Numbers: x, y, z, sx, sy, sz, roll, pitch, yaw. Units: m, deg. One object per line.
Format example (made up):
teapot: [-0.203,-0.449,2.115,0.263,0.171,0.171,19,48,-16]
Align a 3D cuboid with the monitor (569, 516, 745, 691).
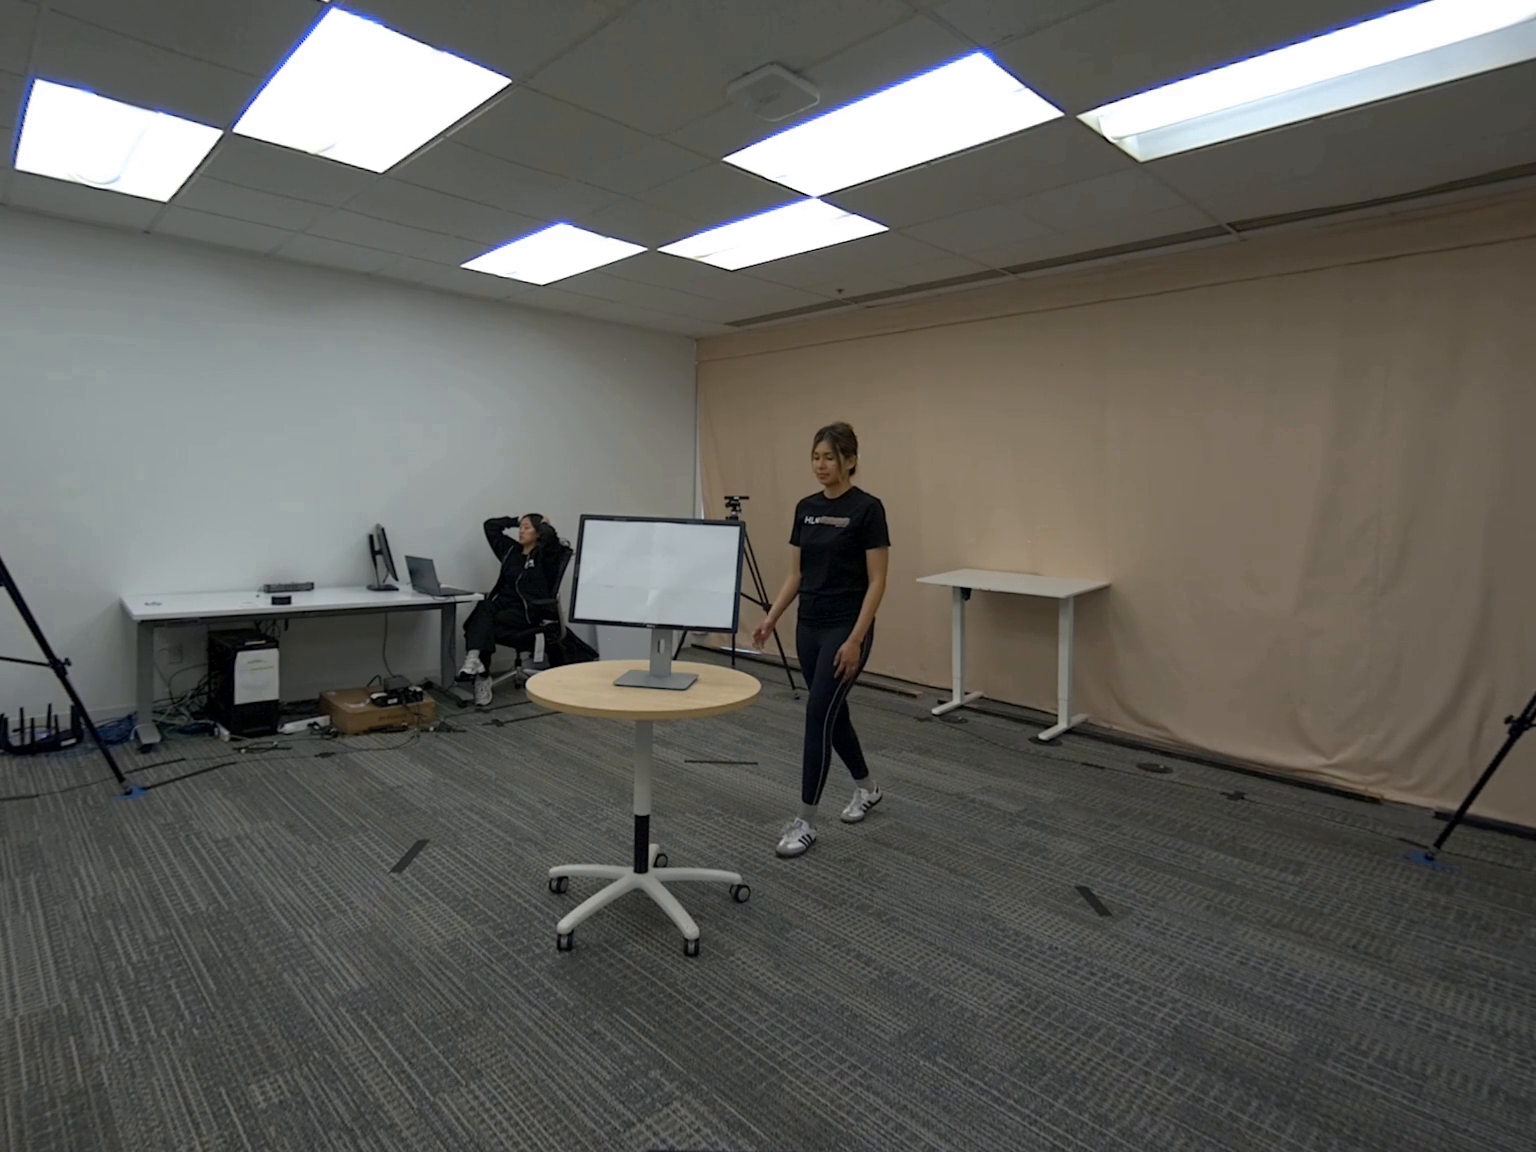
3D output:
monitor: [-0.359,0.088,2.766,0.543,0.521,0.186,3,4,8]
